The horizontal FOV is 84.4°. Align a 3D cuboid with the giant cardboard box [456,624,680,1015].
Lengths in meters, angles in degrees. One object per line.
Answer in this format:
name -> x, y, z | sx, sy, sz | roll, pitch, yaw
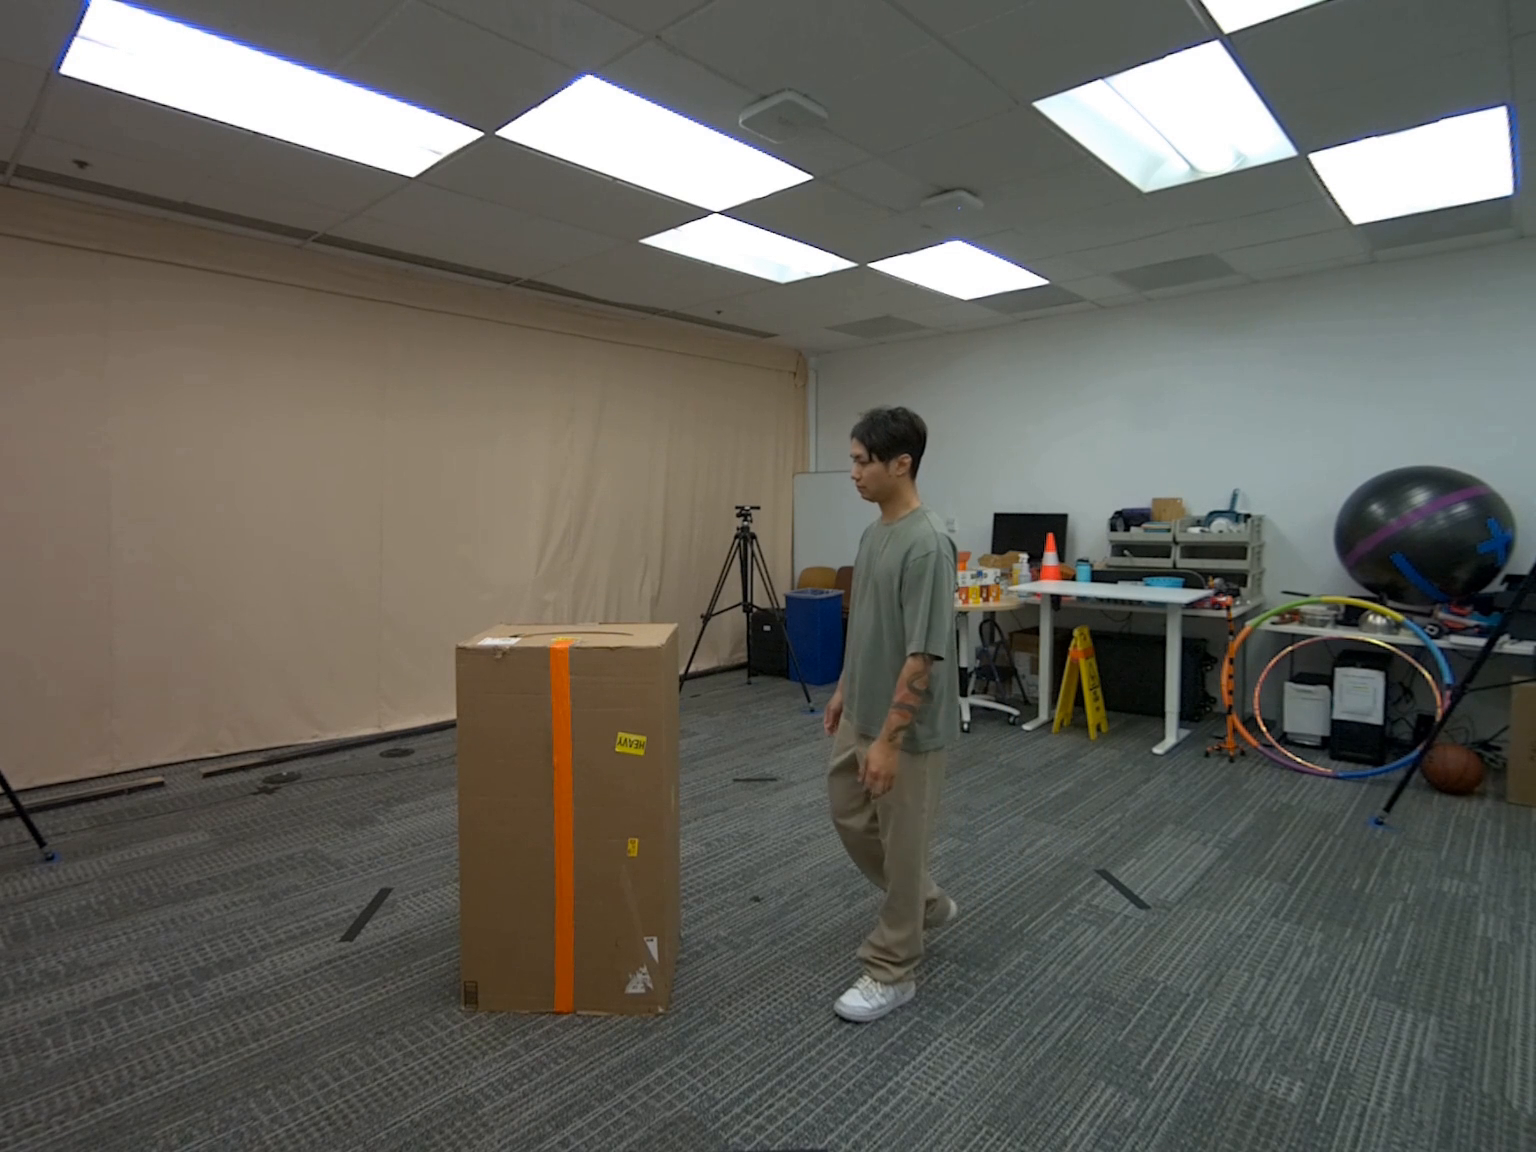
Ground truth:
giant cardboard box -> -0.567, 0.678, 2.499 | 0.579, 1.024, 0.426 | 1, 2, 2
